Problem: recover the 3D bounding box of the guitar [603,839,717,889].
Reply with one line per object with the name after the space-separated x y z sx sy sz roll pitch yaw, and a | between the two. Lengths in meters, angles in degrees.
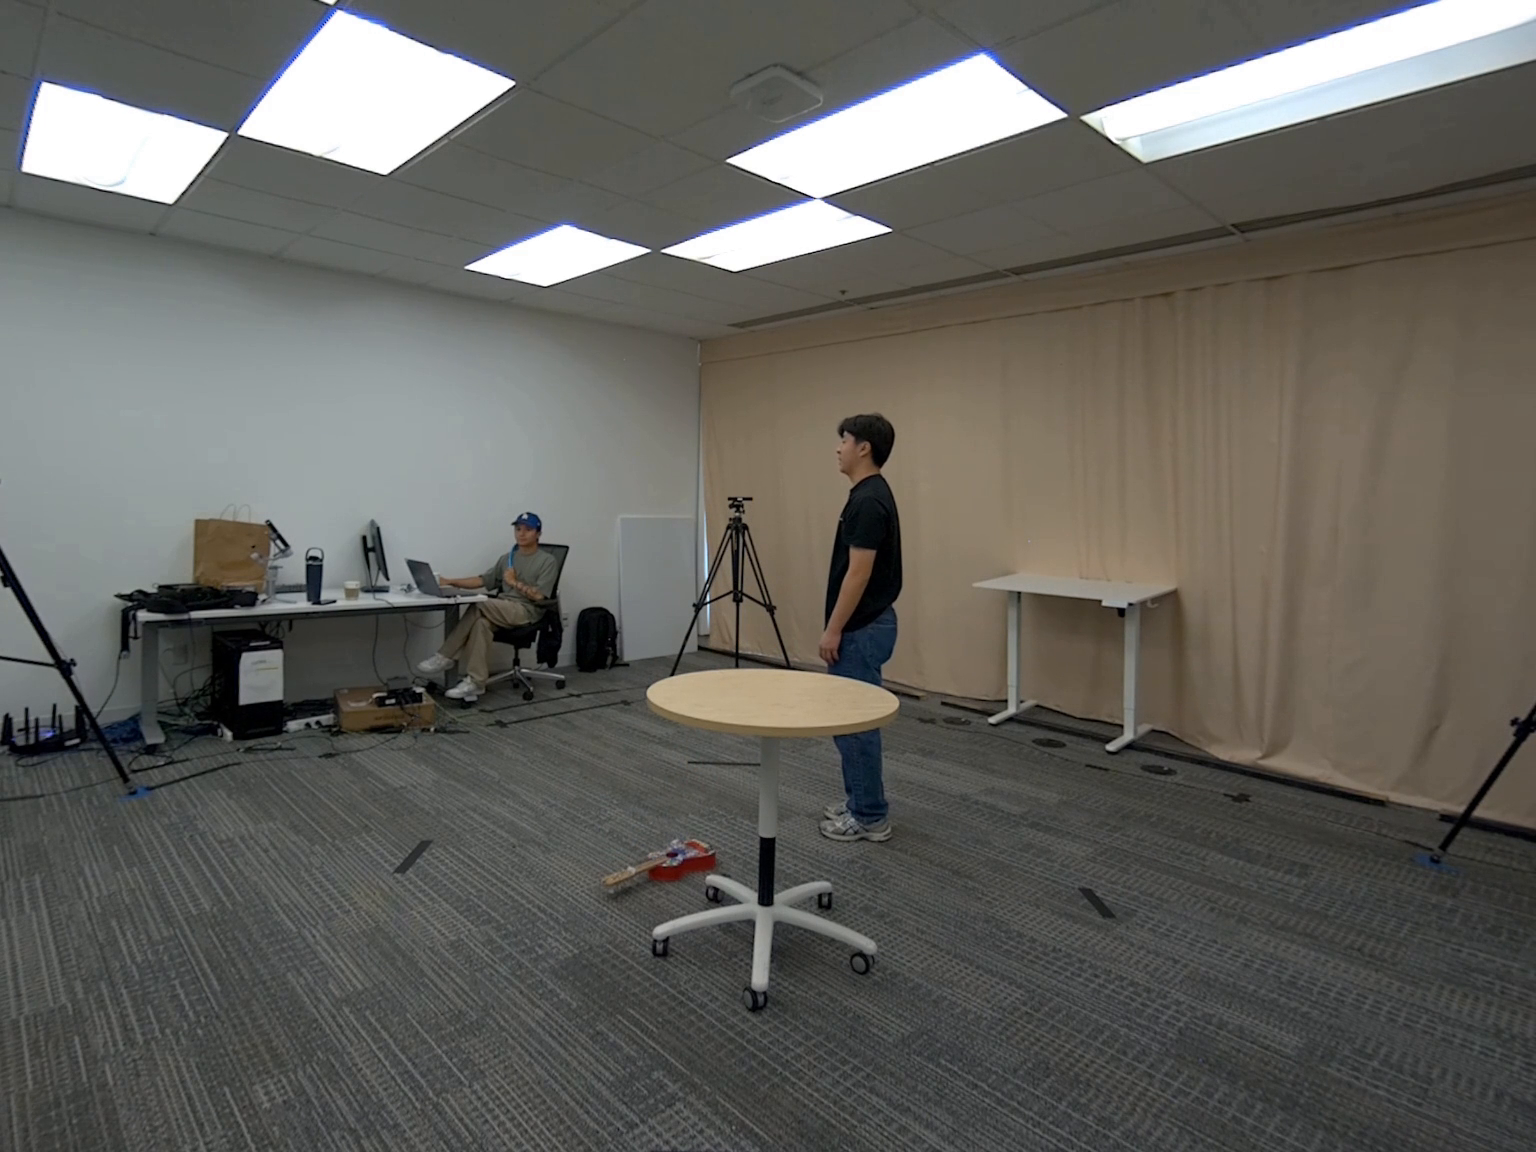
-0.433 1.068 3.102 0.486 0.070 0.198 -3 7 -40 | guitar
